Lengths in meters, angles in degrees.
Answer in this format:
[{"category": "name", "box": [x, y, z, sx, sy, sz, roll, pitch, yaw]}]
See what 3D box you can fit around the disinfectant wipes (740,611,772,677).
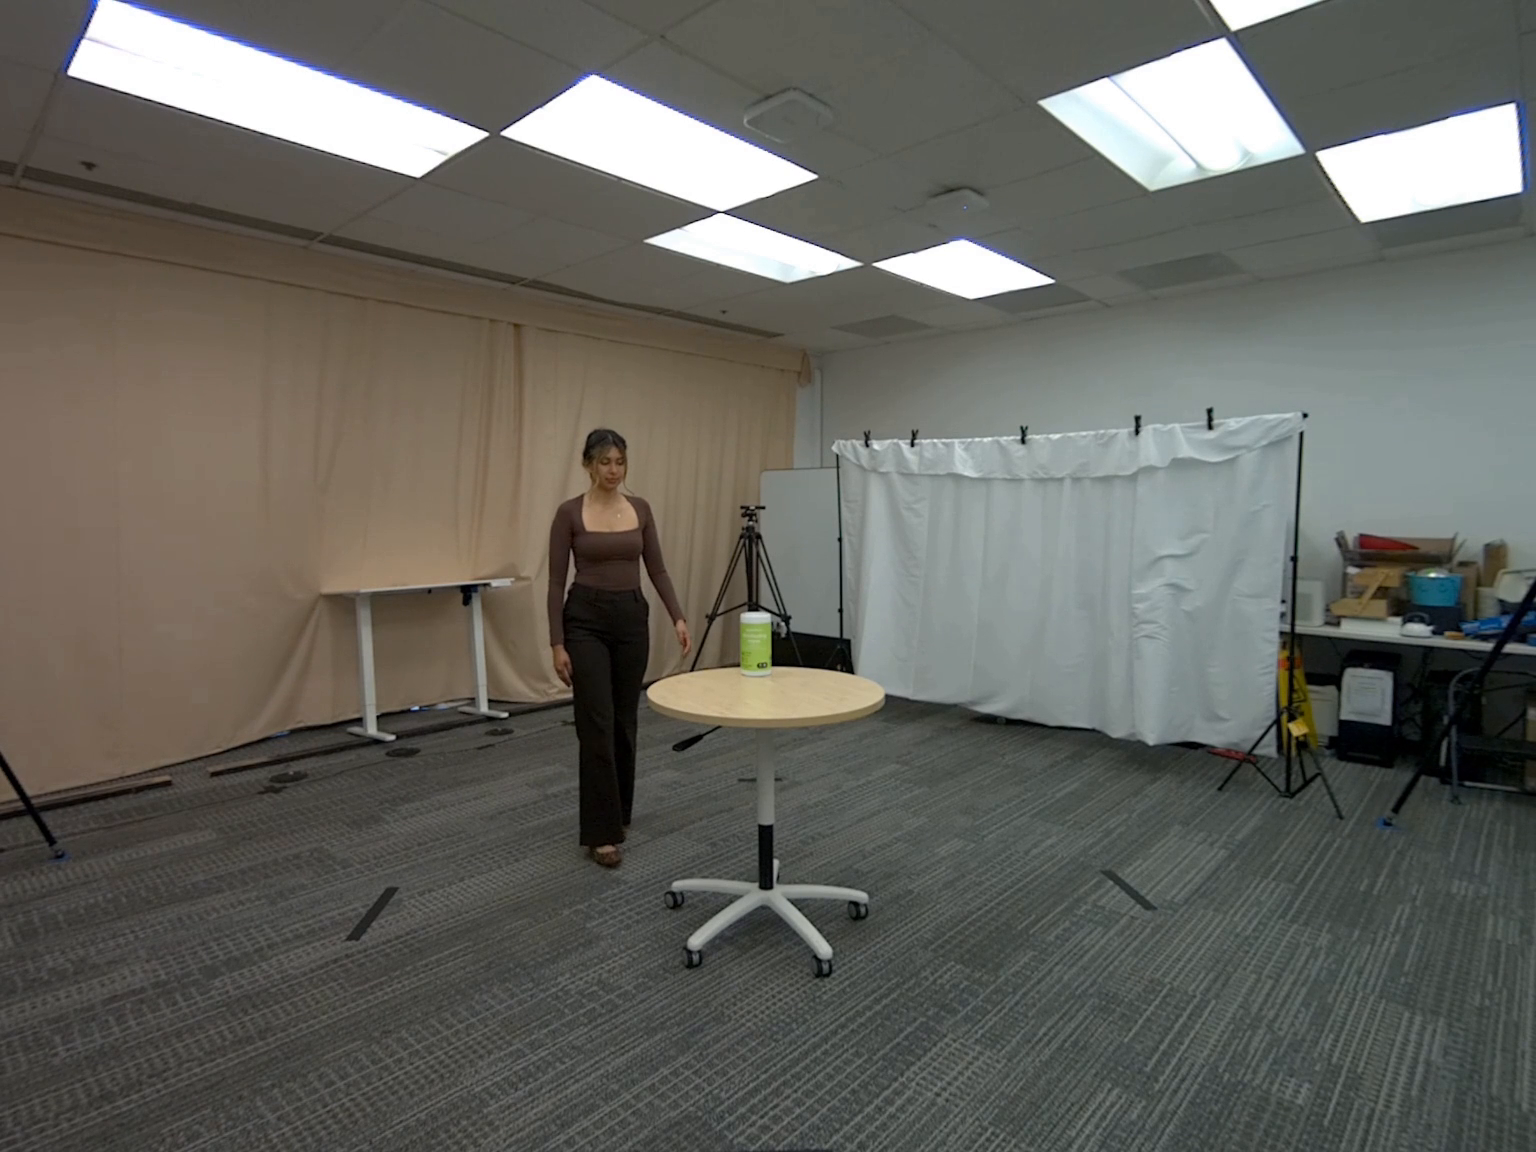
[{"category": "disinfectant wipes", "box": [-0.033, 0.242, 2.979, 0.118, 0.217, 0.118, 0, 3, -2]}]
